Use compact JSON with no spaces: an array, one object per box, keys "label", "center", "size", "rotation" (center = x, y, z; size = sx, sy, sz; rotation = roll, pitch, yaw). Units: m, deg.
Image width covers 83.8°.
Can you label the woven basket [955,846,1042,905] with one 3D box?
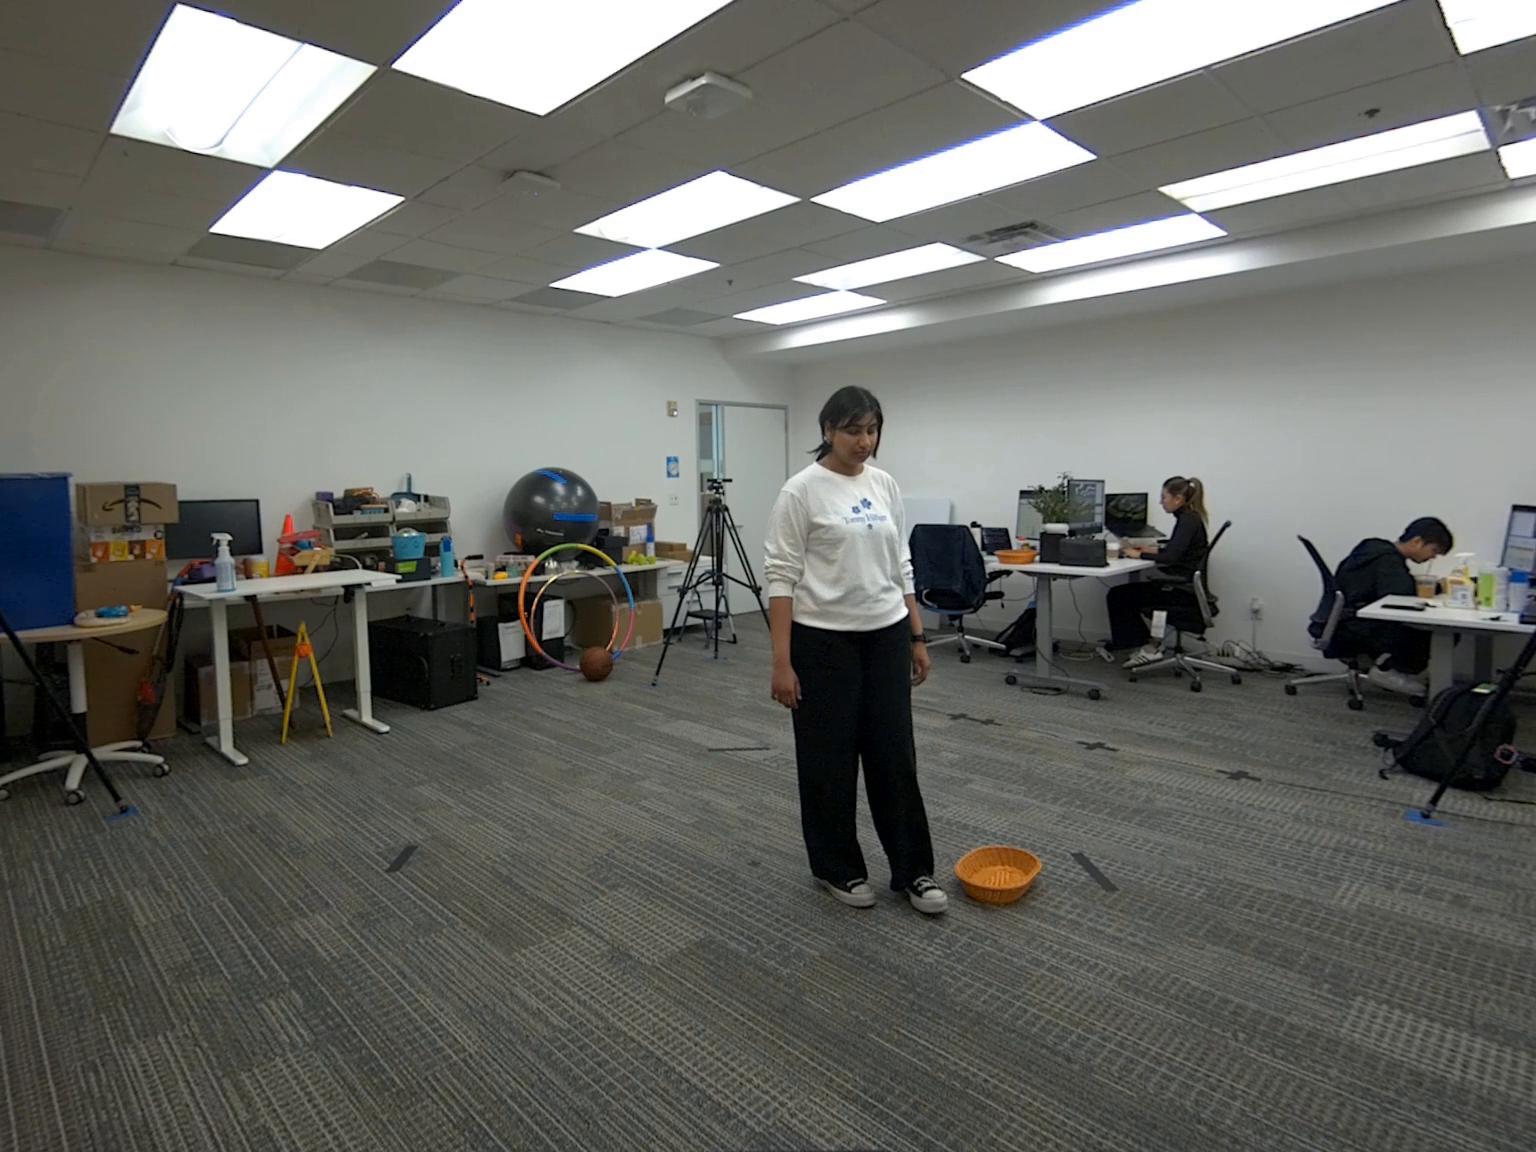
[{"label":"woven basket","center":[0.776,1.011,2.910],"size":[0.260,0.073,0.341],"rotation":[3,7,42]}]
